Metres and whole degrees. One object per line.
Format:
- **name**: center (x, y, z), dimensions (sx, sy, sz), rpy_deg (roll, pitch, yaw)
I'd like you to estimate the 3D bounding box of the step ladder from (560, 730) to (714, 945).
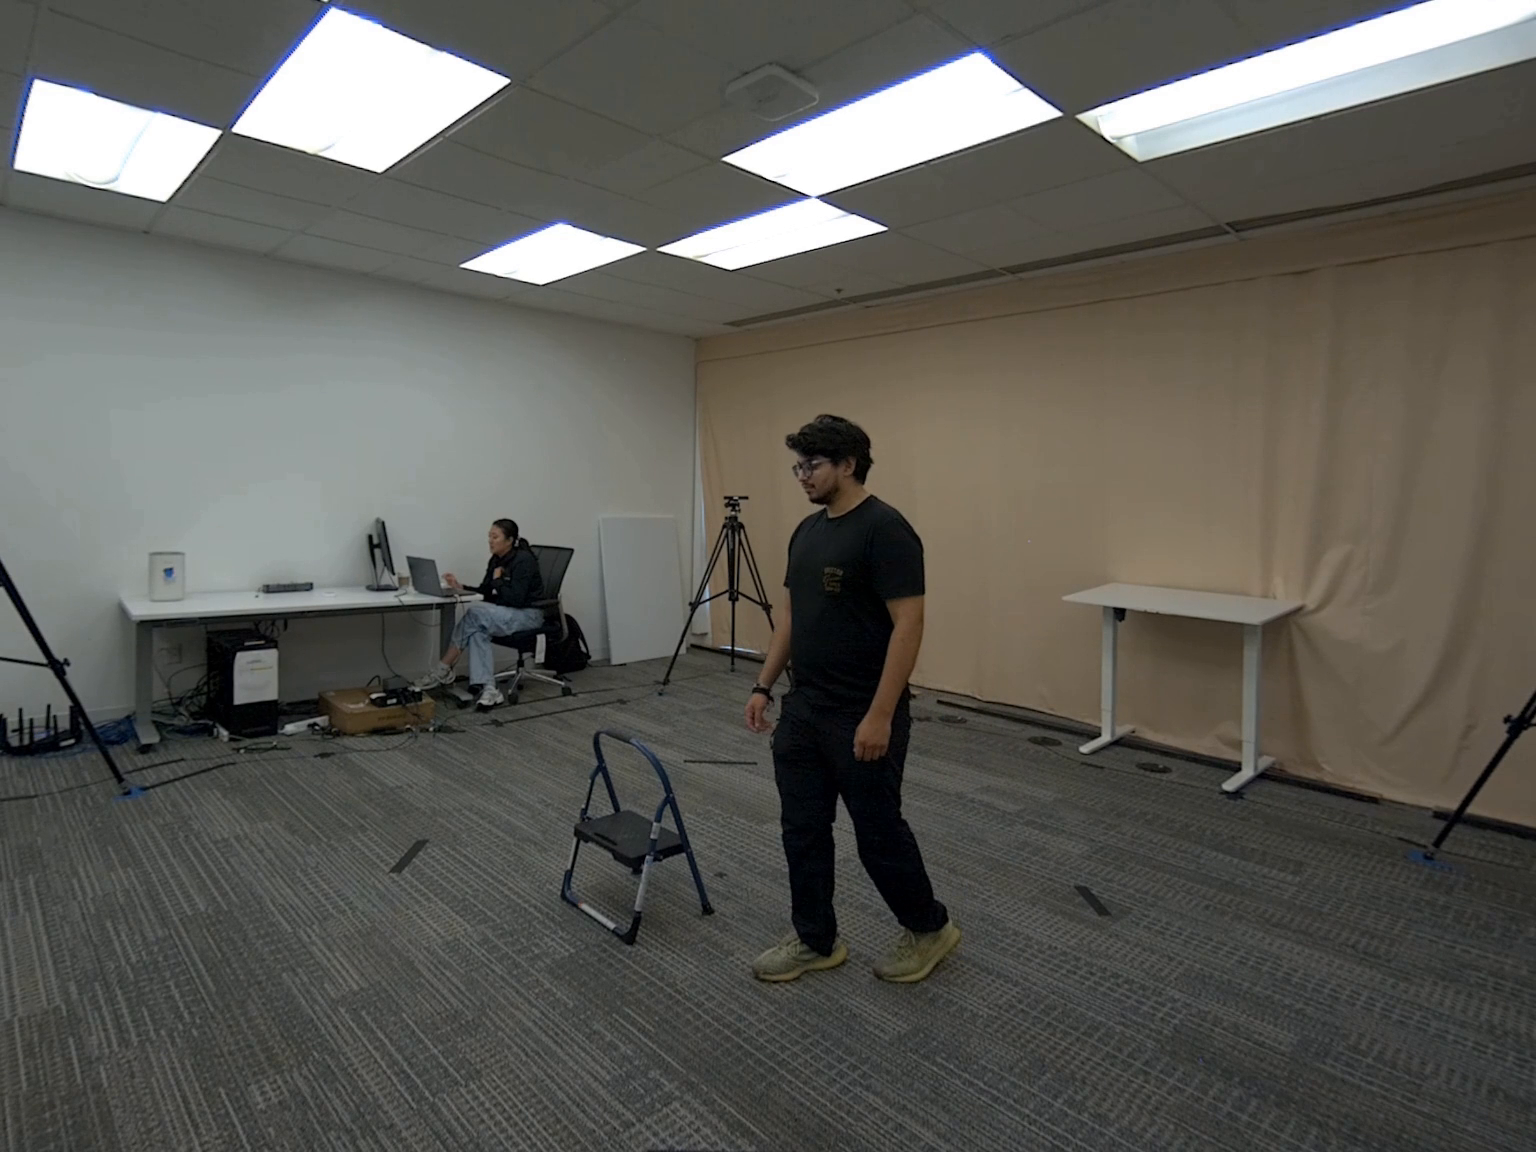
- **step ladder**: center (-0.447, 0.816, 2.844), dimensions (0.341, 0.604, 0.442), rpy_deg (-2, 5, -44)
